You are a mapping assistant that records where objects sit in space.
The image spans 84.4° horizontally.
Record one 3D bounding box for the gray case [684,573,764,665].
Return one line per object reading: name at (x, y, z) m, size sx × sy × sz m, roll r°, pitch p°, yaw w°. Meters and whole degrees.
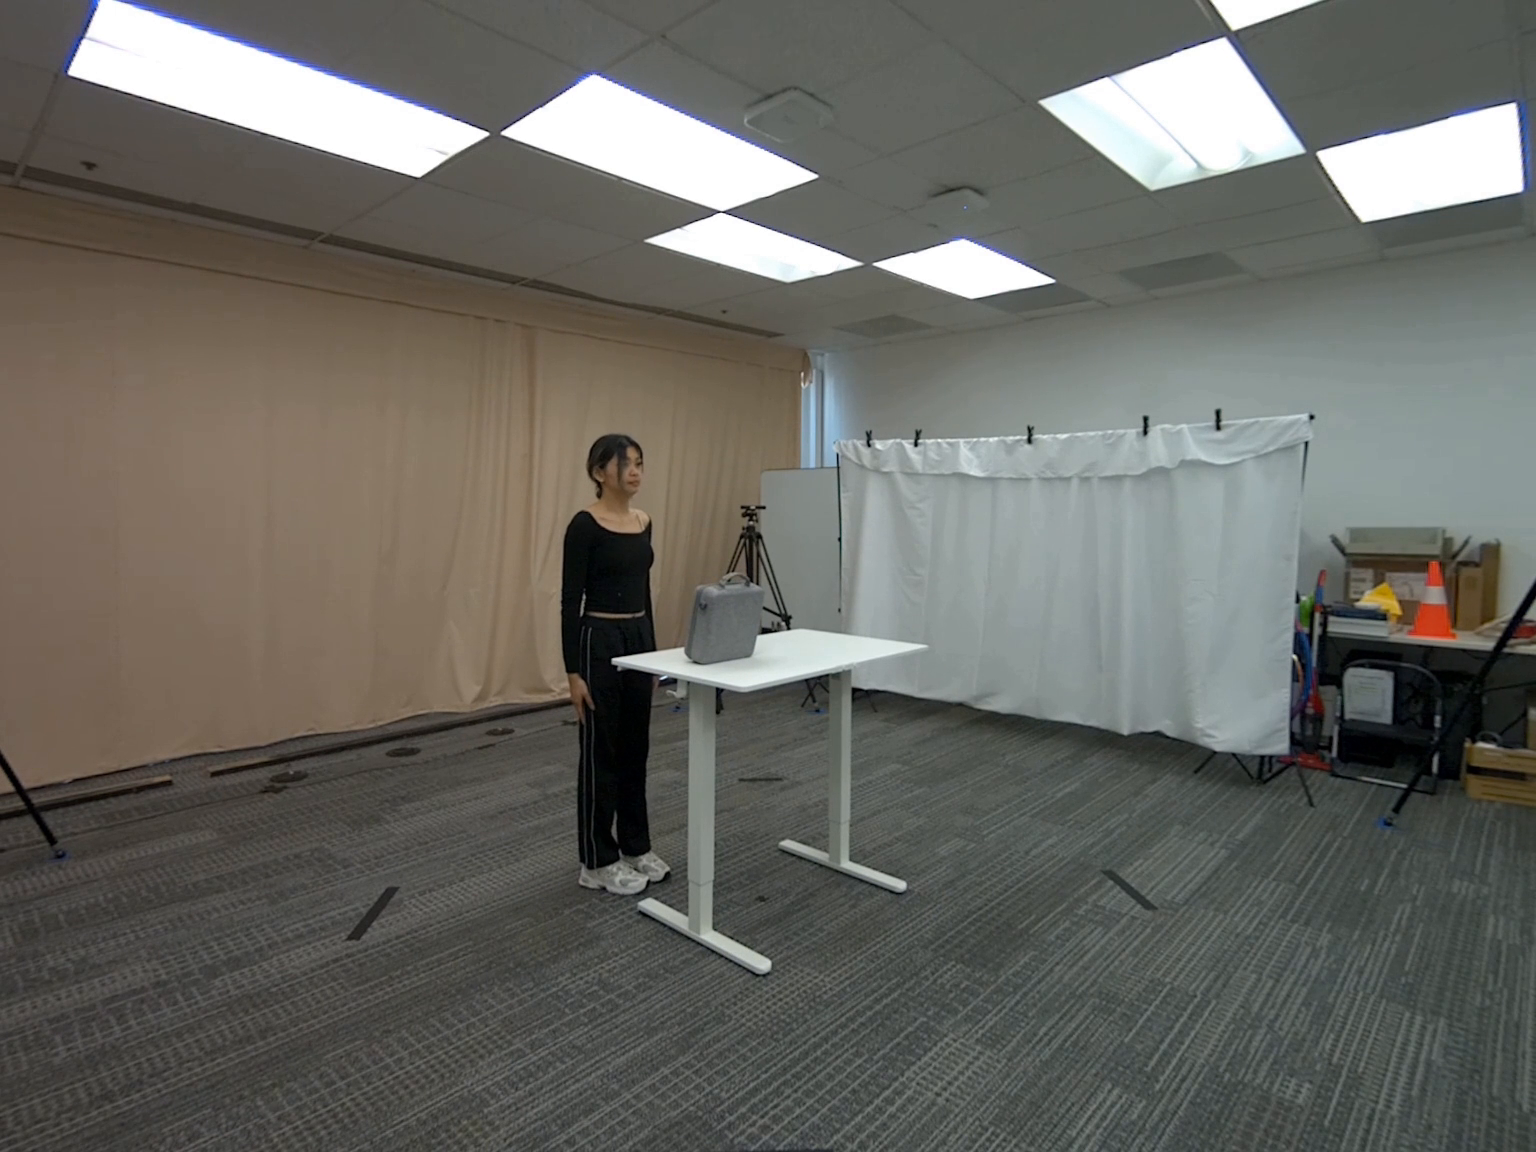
gray case at (-0.134, 0.148, 2.757) m, size 0.249 × 0.259 × 0.108 m, roll -3°, pitch 18°, yaw -43°
